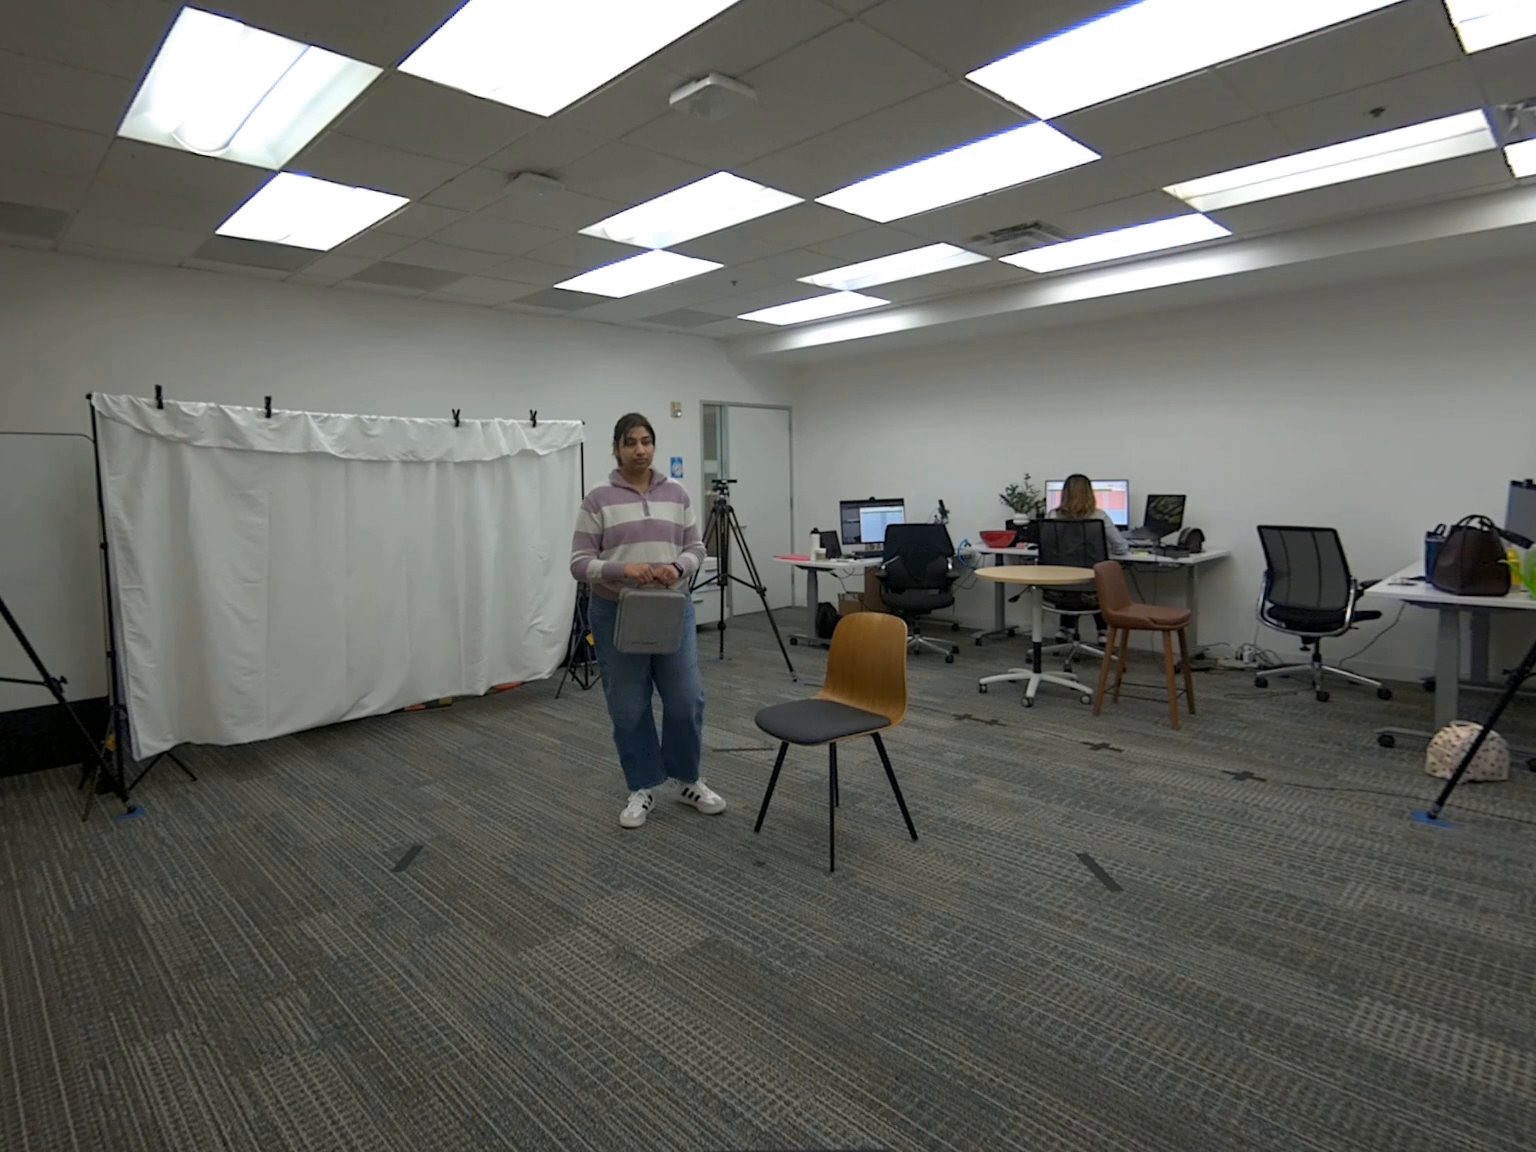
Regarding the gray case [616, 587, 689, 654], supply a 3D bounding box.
[{"bbox_3d":[-0.462,0.173,3.302,0.251,0.258,0.107,3,12,-24],"label":"gray case"}]
